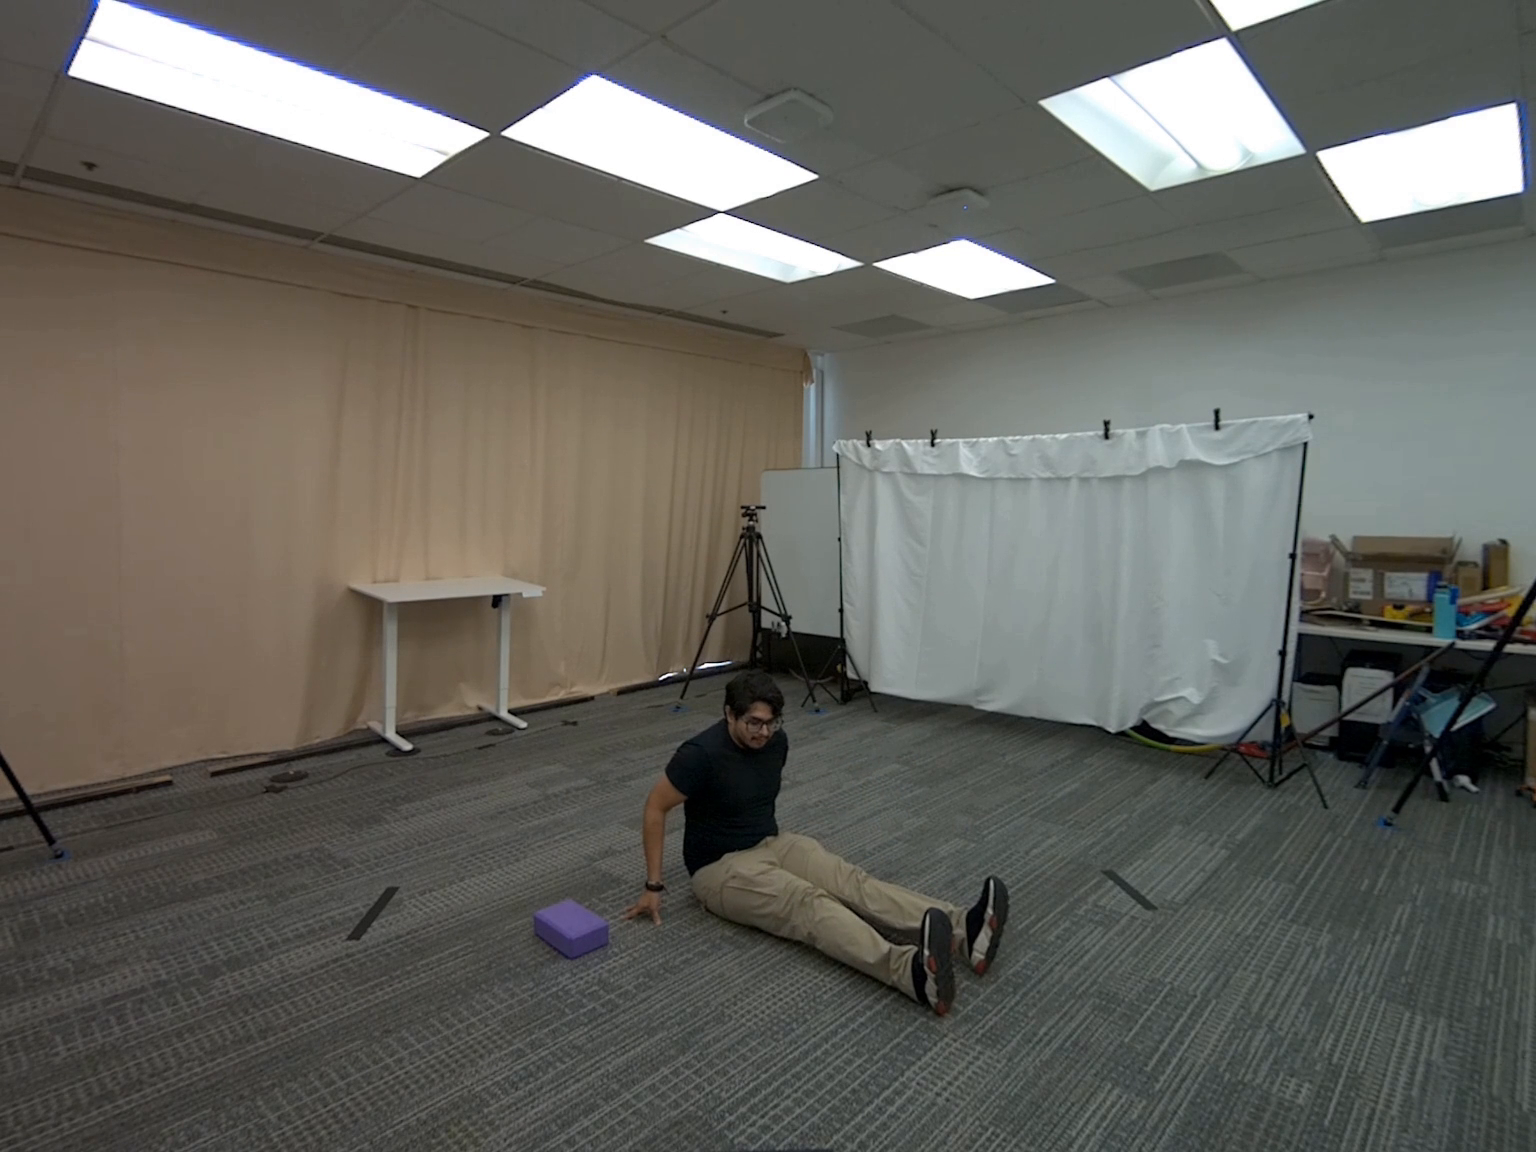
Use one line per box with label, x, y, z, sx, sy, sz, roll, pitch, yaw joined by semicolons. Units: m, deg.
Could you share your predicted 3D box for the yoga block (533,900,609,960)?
yoga block;-0.630;1.132;2.706;0.144;0.076;0.237;-6;7;-44
